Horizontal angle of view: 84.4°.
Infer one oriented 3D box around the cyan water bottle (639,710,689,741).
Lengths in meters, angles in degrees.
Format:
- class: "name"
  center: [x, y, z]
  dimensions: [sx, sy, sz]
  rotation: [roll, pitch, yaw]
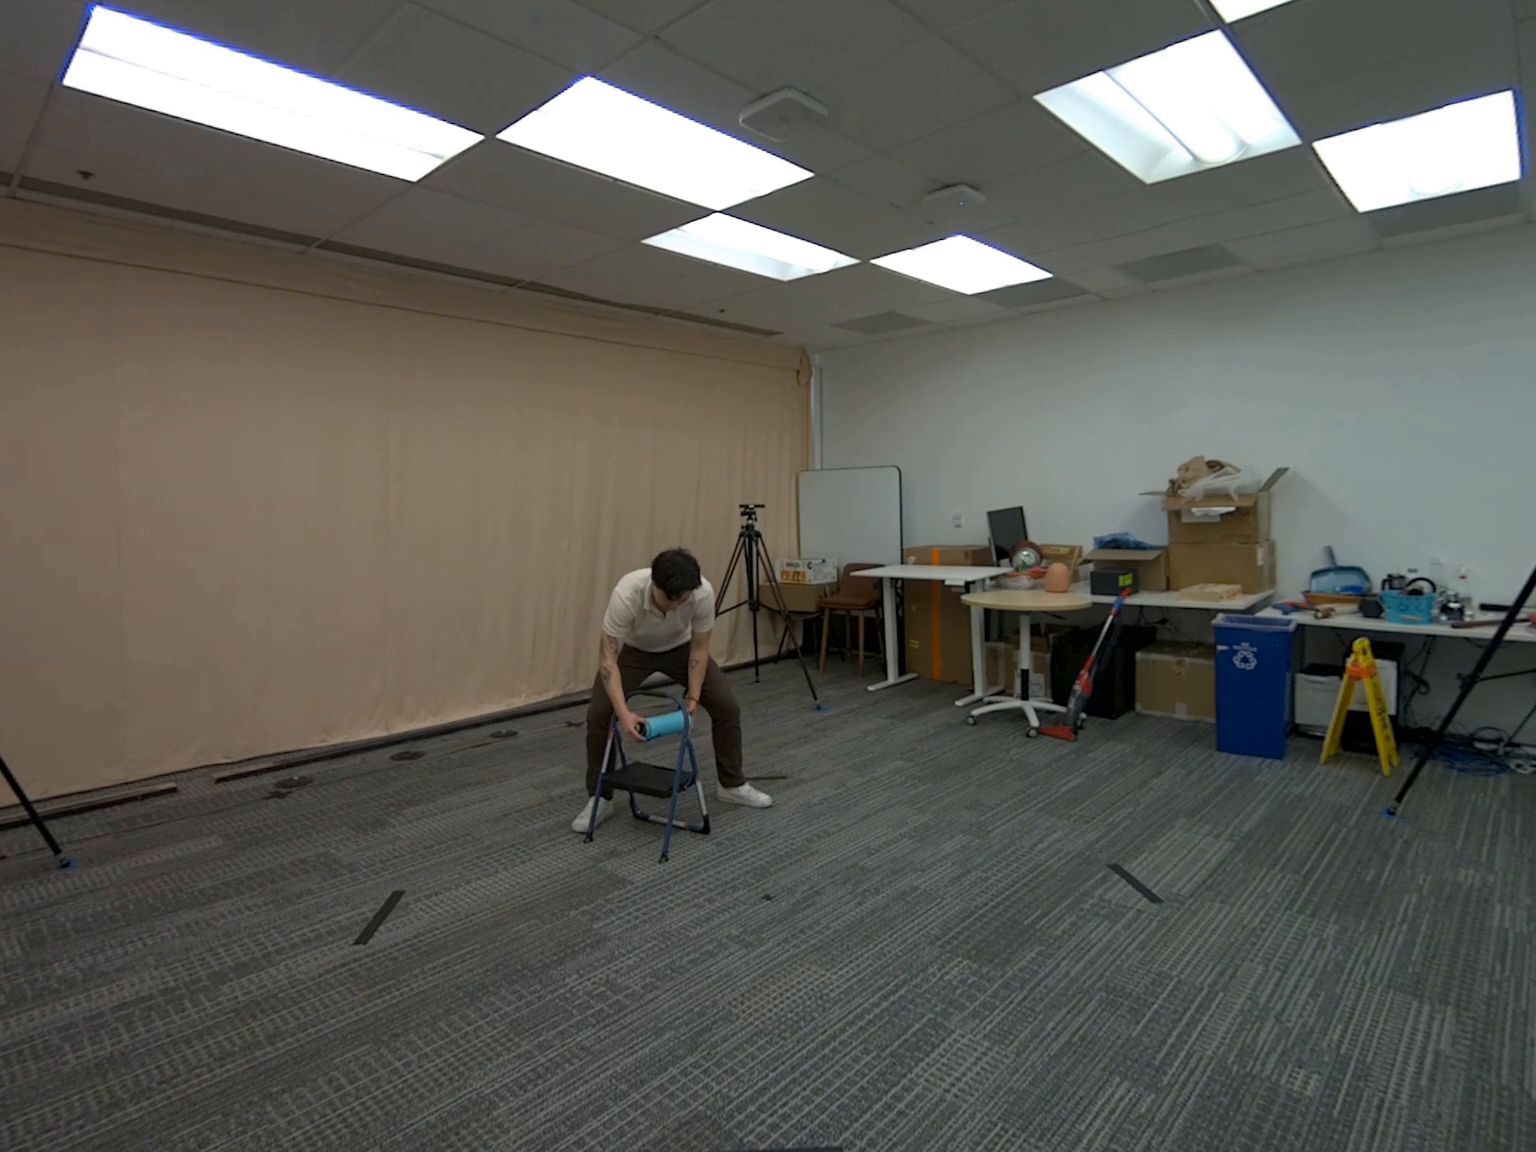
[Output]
- class: "cyan water bottle"
  center: [-0.450, 0.636, 3.586]
  dimensions: [0.095, 0.092, 0.275]
  rotation: [3, 6, 43]
